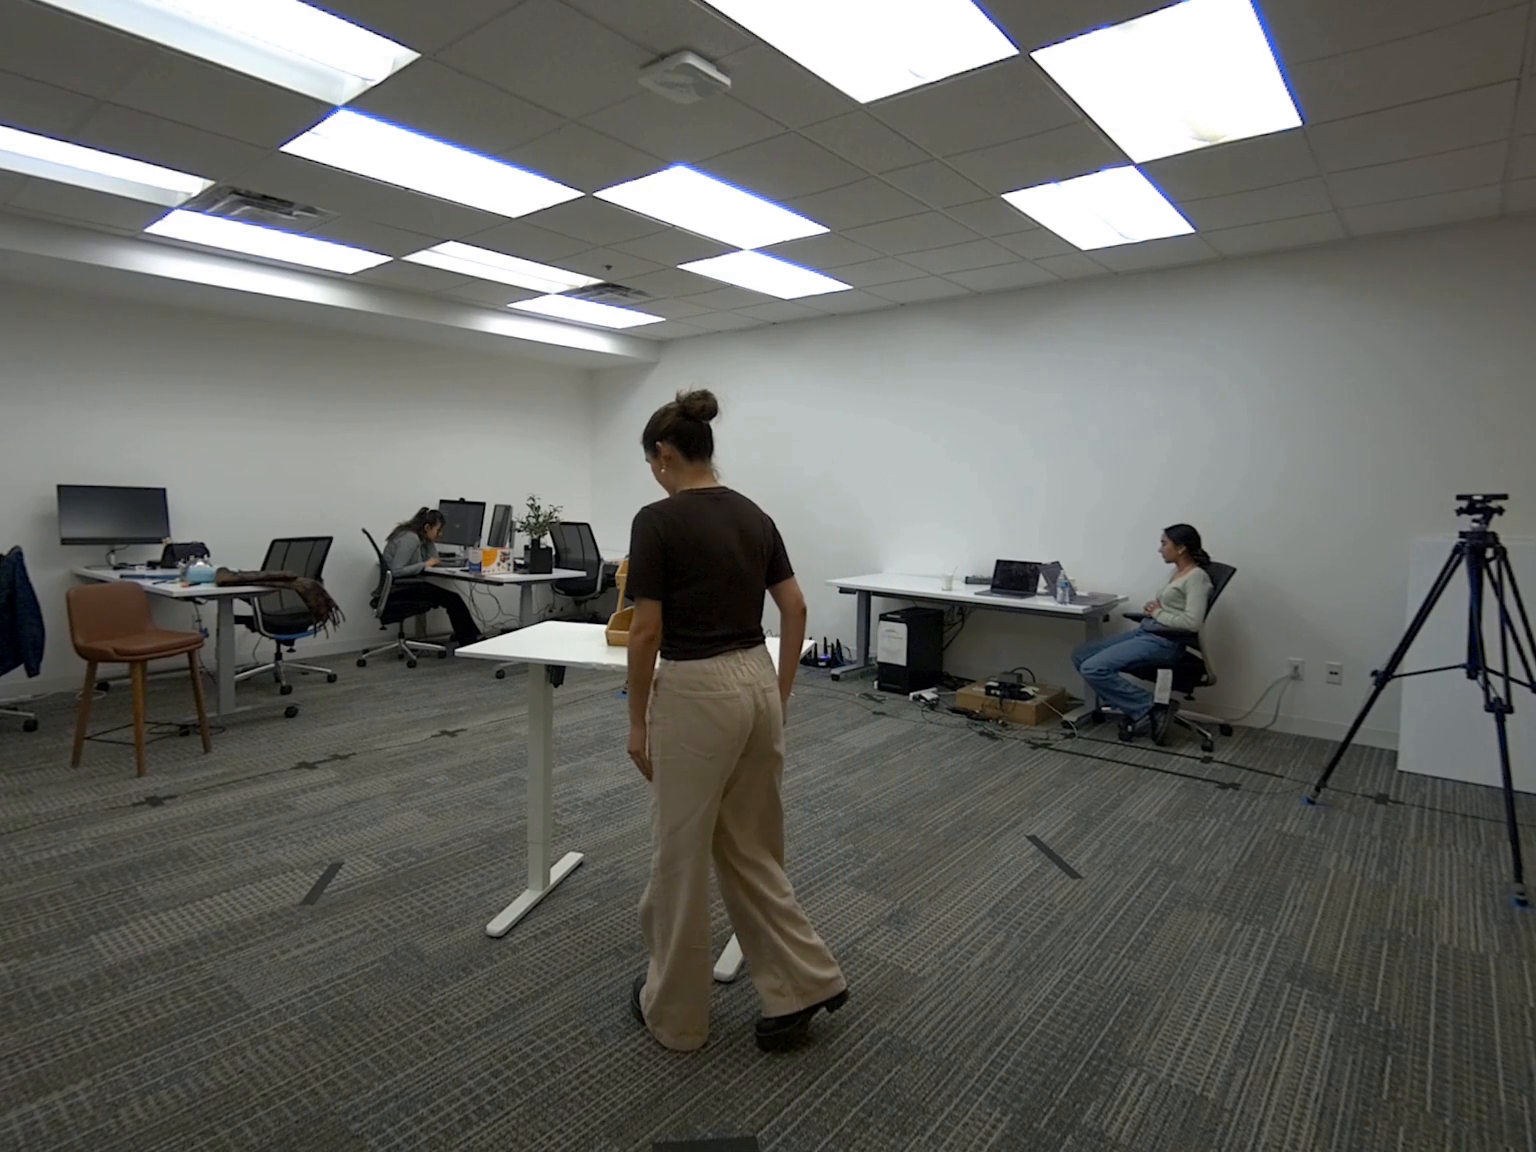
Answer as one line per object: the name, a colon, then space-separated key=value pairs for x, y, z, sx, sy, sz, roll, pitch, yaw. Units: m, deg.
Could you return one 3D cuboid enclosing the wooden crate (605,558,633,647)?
wooden crate: x=-0.348 y=0.081 z=2.785 sx=0.328 sy=0.272 sz=0.299 roll=2 pitch=4 yaw=10
